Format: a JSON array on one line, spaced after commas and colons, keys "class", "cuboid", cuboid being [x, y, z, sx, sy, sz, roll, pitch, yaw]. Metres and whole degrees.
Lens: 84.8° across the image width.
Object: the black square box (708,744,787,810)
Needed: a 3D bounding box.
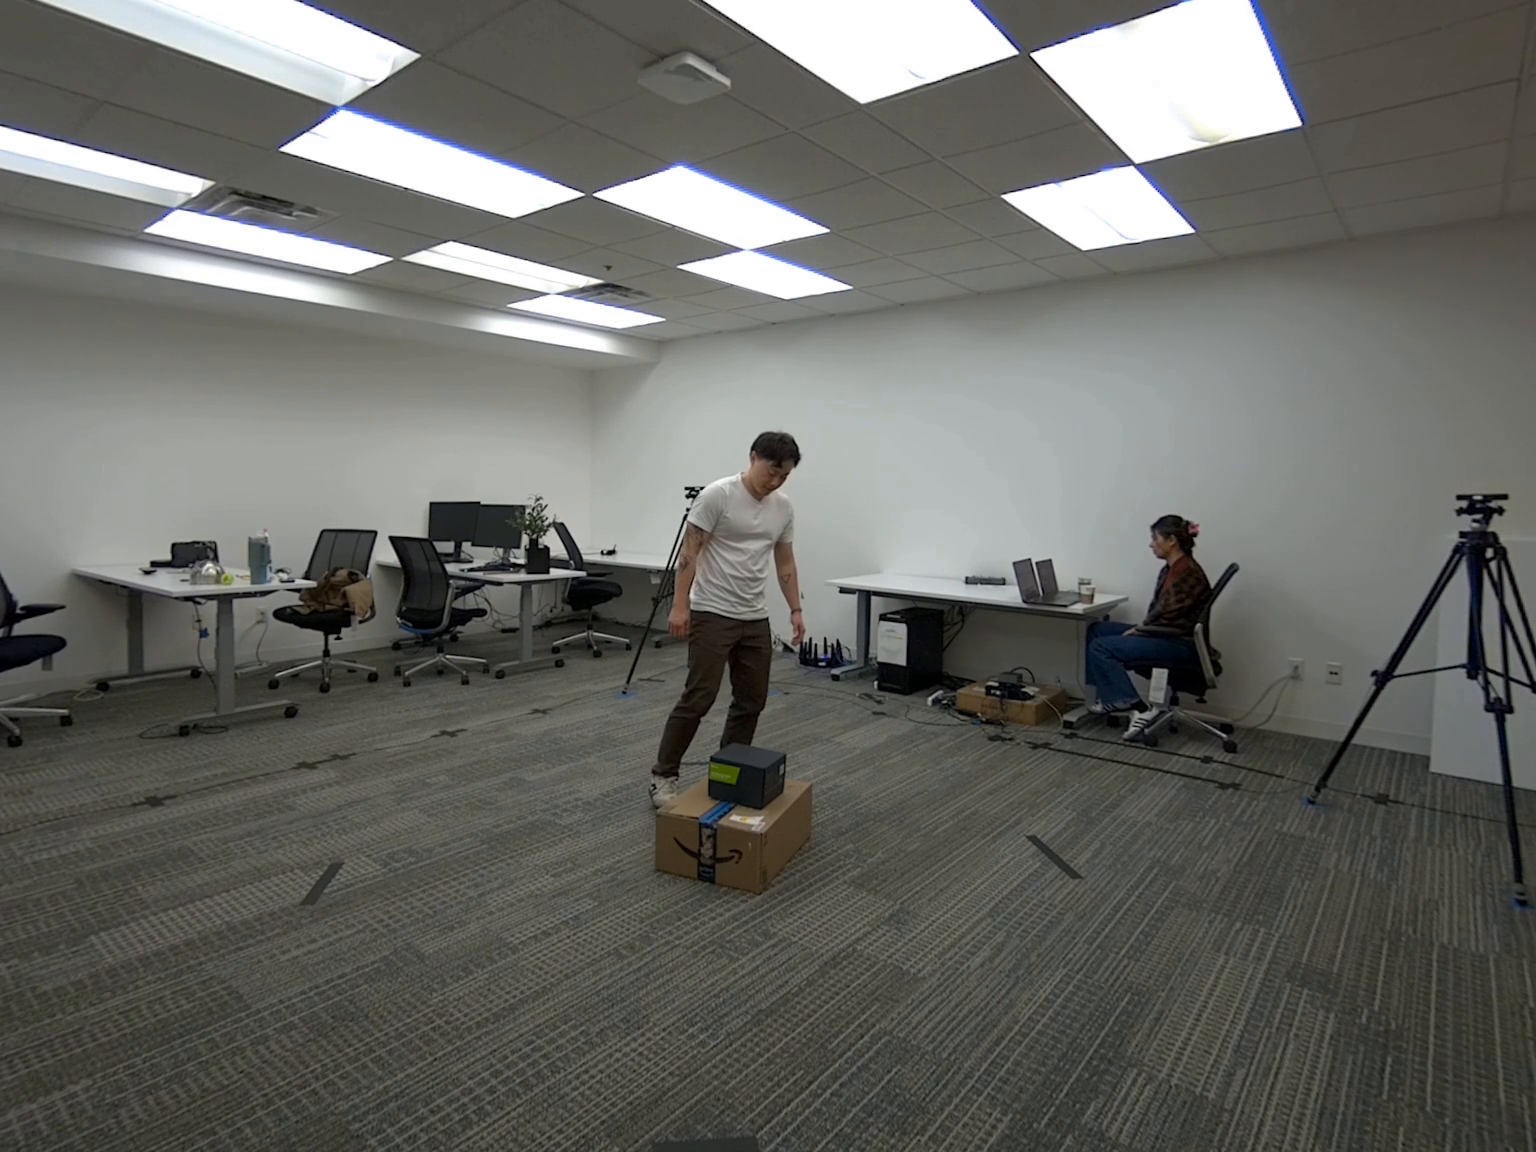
[{"class": "black square box", "cuboid": [-0.090, 0.753, 3.246, 0.234, 0.155, 0.212, 6, 6, 25]}]
